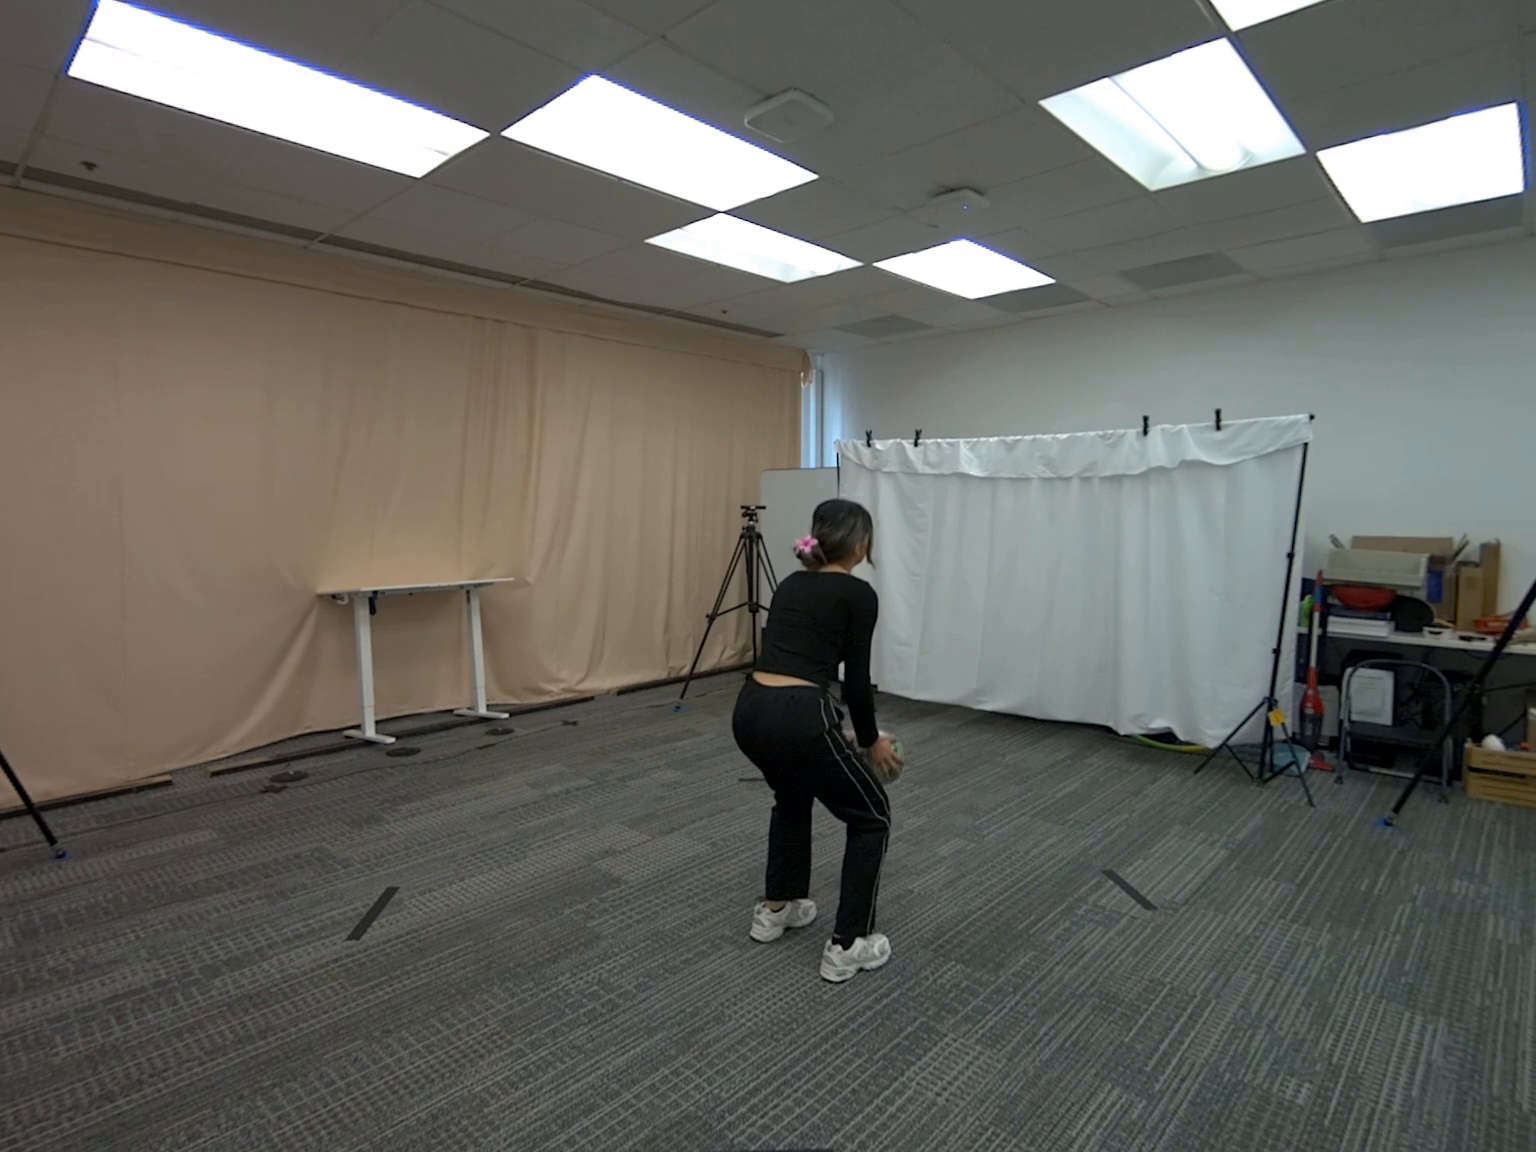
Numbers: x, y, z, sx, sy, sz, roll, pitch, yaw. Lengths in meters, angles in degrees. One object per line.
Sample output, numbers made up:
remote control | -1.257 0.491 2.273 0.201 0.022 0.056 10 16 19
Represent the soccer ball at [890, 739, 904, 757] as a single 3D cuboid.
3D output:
soccer ball | 0.380 0.603 2.839 0.187 0.187 0.188 0 4 -2
